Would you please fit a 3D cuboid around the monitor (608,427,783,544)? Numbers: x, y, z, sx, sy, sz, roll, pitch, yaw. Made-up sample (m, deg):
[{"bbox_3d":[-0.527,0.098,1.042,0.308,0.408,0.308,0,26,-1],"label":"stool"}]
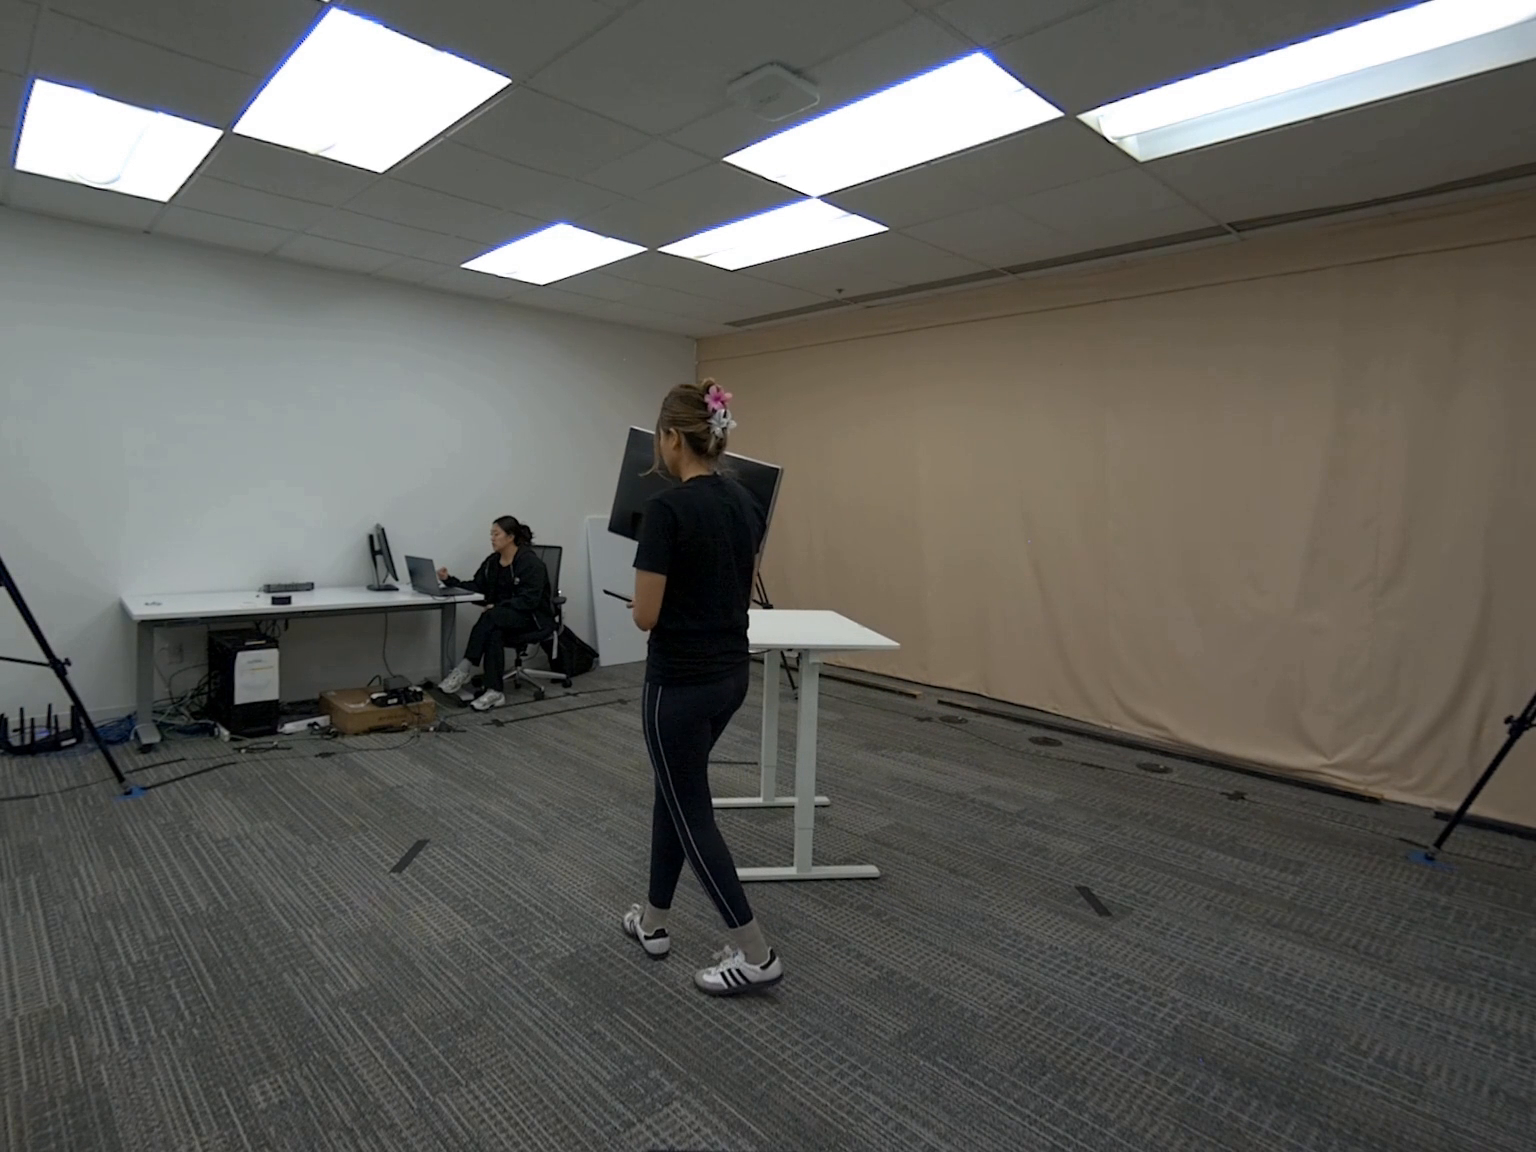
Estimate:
[{"bbox_3d":[-0.293,-0.157,2.659,0.550,0.523,0.183,18,-1,22],"label":"monitor"}]
